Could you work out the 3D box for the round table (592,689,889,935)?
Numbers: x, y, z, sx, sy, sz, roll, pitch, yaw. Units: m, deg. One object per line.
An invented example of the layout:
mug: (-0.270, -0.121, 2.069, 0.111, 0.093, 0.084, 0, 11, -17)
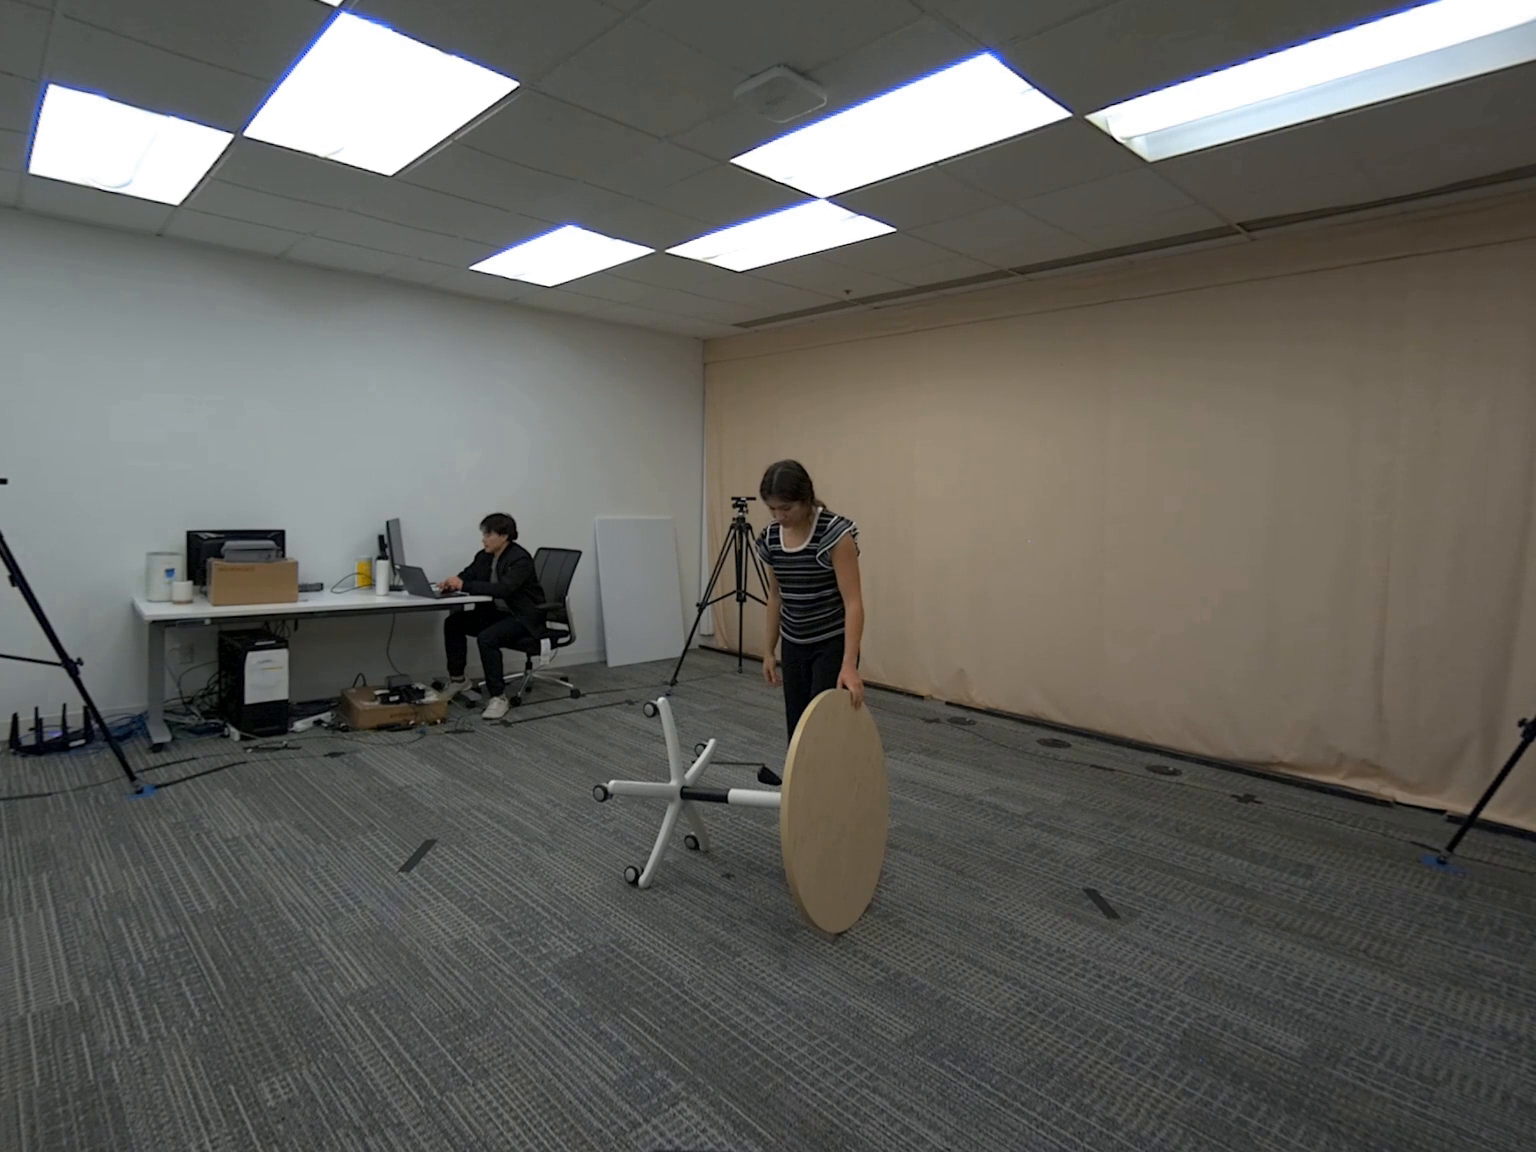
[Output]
round table: (-0.100, 0.791, 2.988, 0.809, 0.764, 0.749, -5, 0, 31)
